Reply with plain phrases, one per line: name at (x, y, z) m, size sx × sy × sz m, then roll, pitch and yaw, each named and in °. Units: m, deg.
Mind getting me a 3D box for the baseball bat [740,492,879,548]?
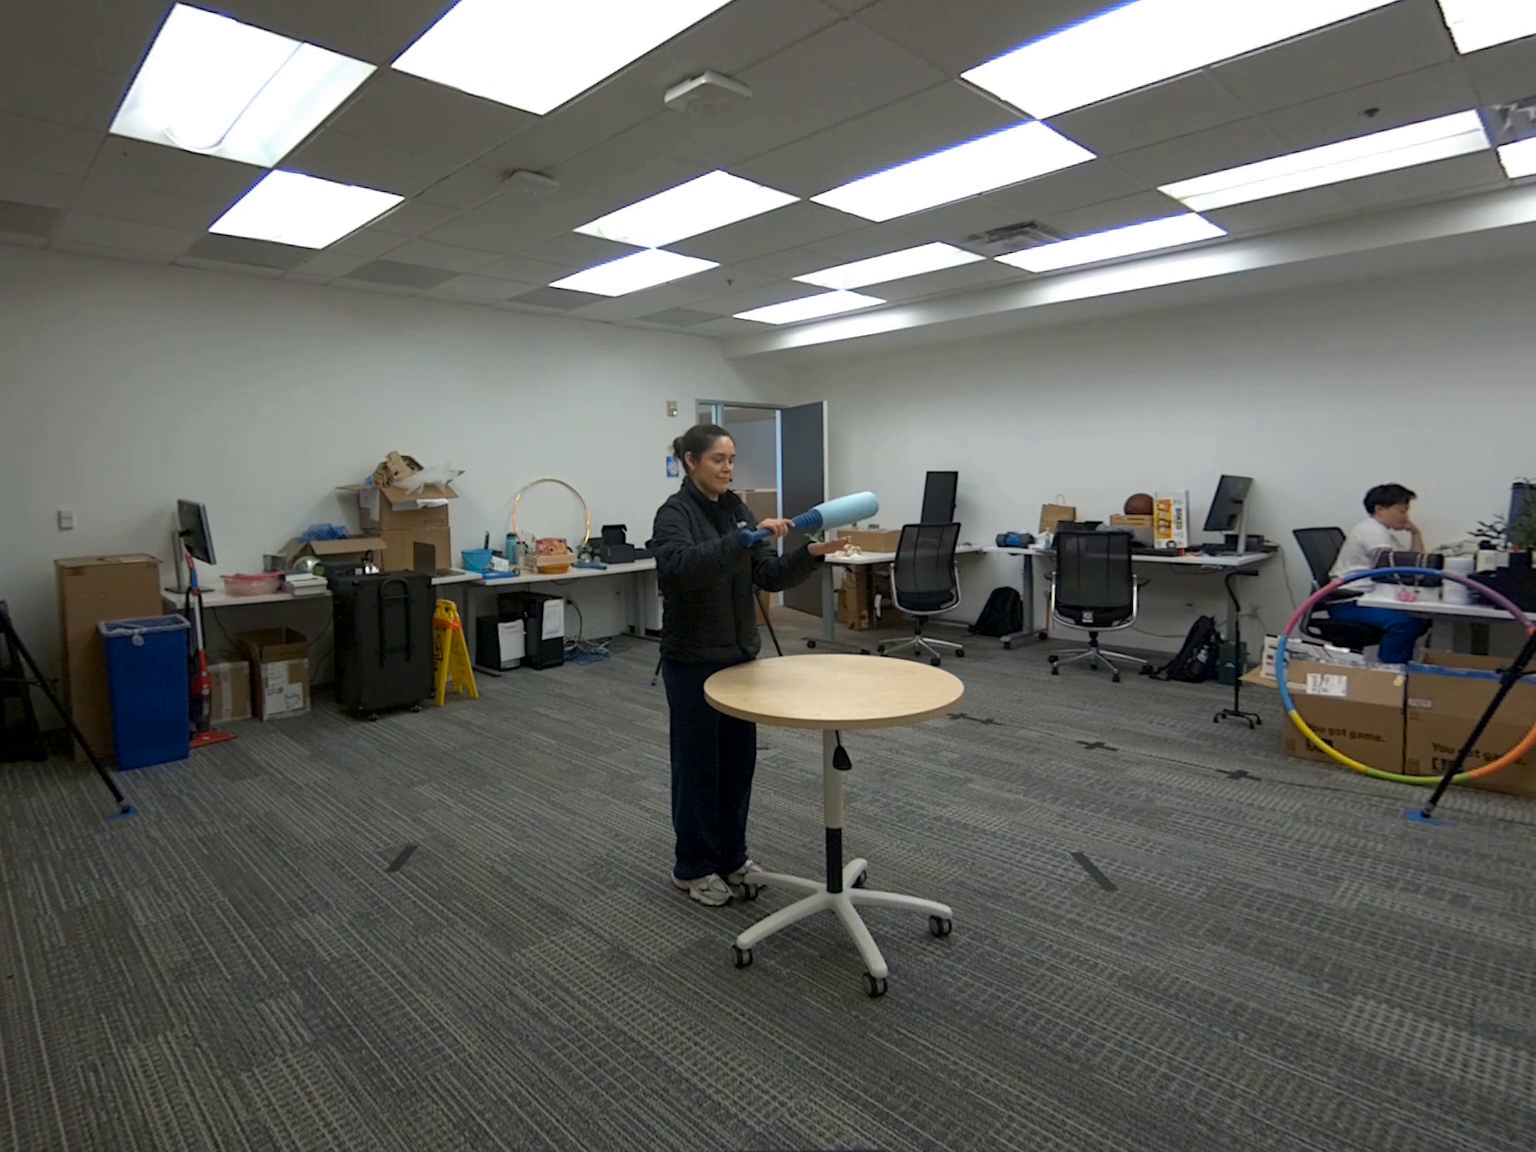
baseball bat at (0.132, -0.177, 2.638) m, size 0.533 × 0.088 × 0.092 m, roll -18°, pitch 14°, yaw -36°
